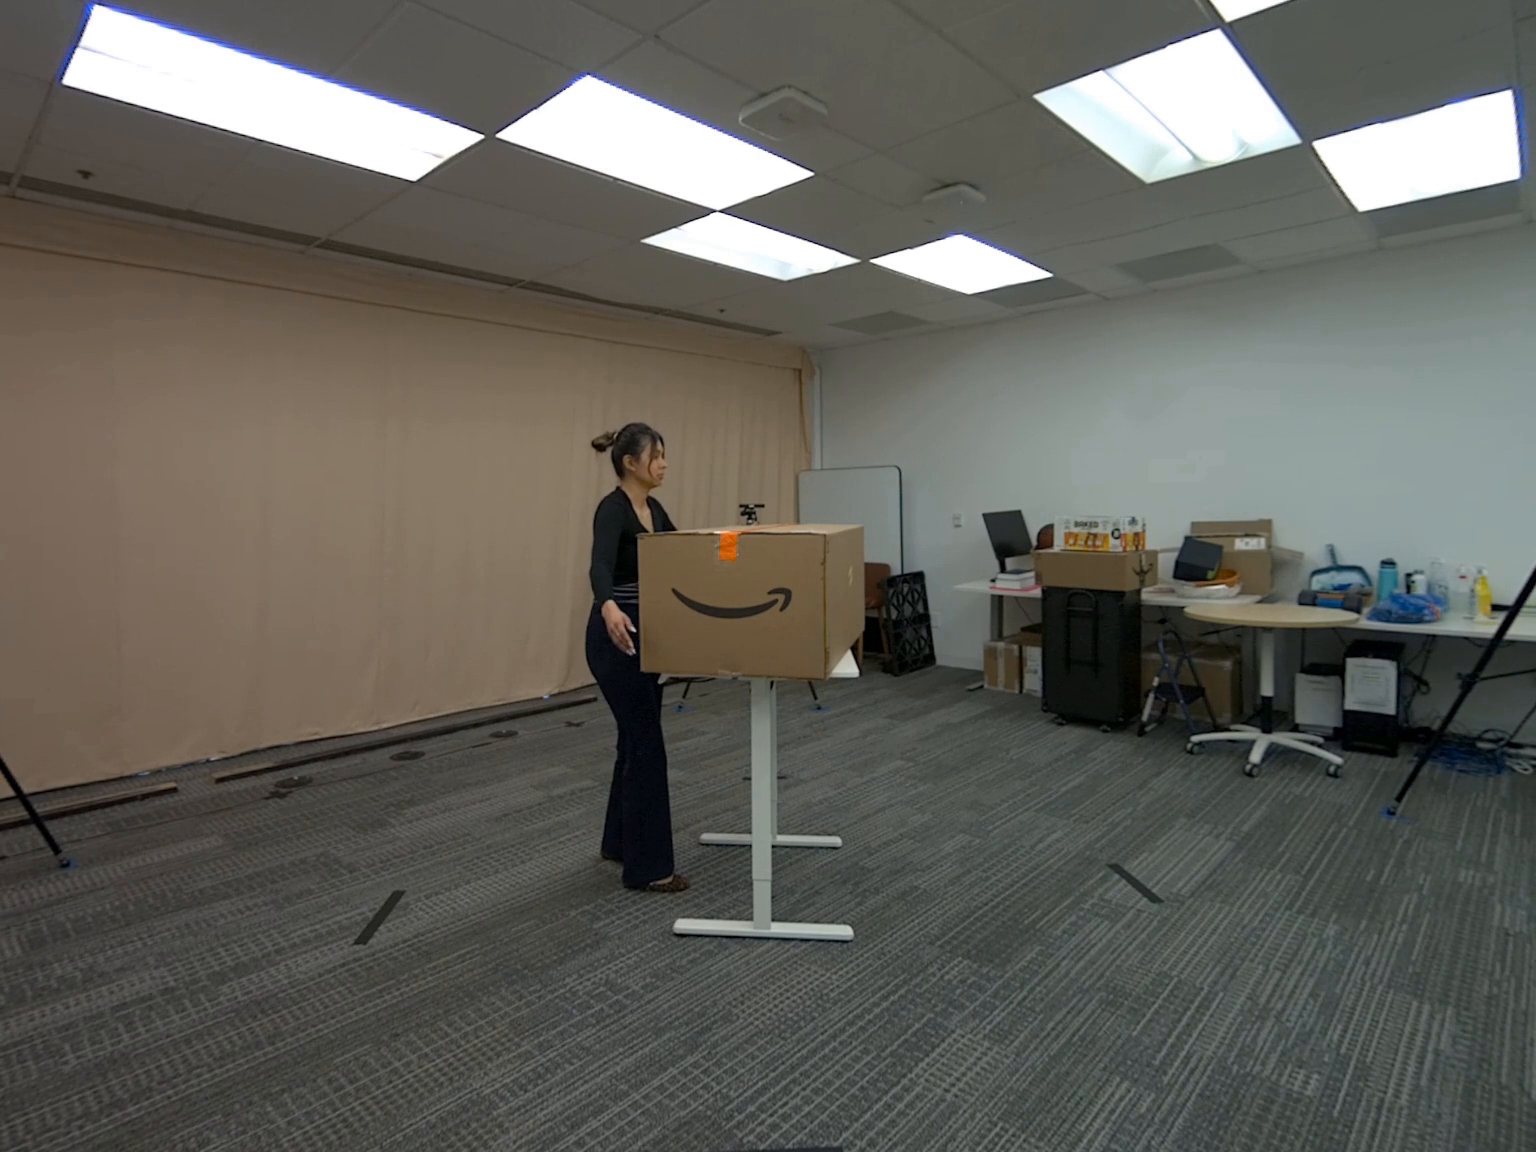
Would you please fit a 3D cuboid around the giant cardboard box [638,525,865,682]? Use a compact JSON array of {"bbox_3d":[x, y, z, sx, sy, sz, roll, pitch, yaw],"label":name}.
[{"bbox_3d":[0.002,0.043,2.973,0.587,0.425,1.012,0,4,14],"label":"giant cardboard box"}]
